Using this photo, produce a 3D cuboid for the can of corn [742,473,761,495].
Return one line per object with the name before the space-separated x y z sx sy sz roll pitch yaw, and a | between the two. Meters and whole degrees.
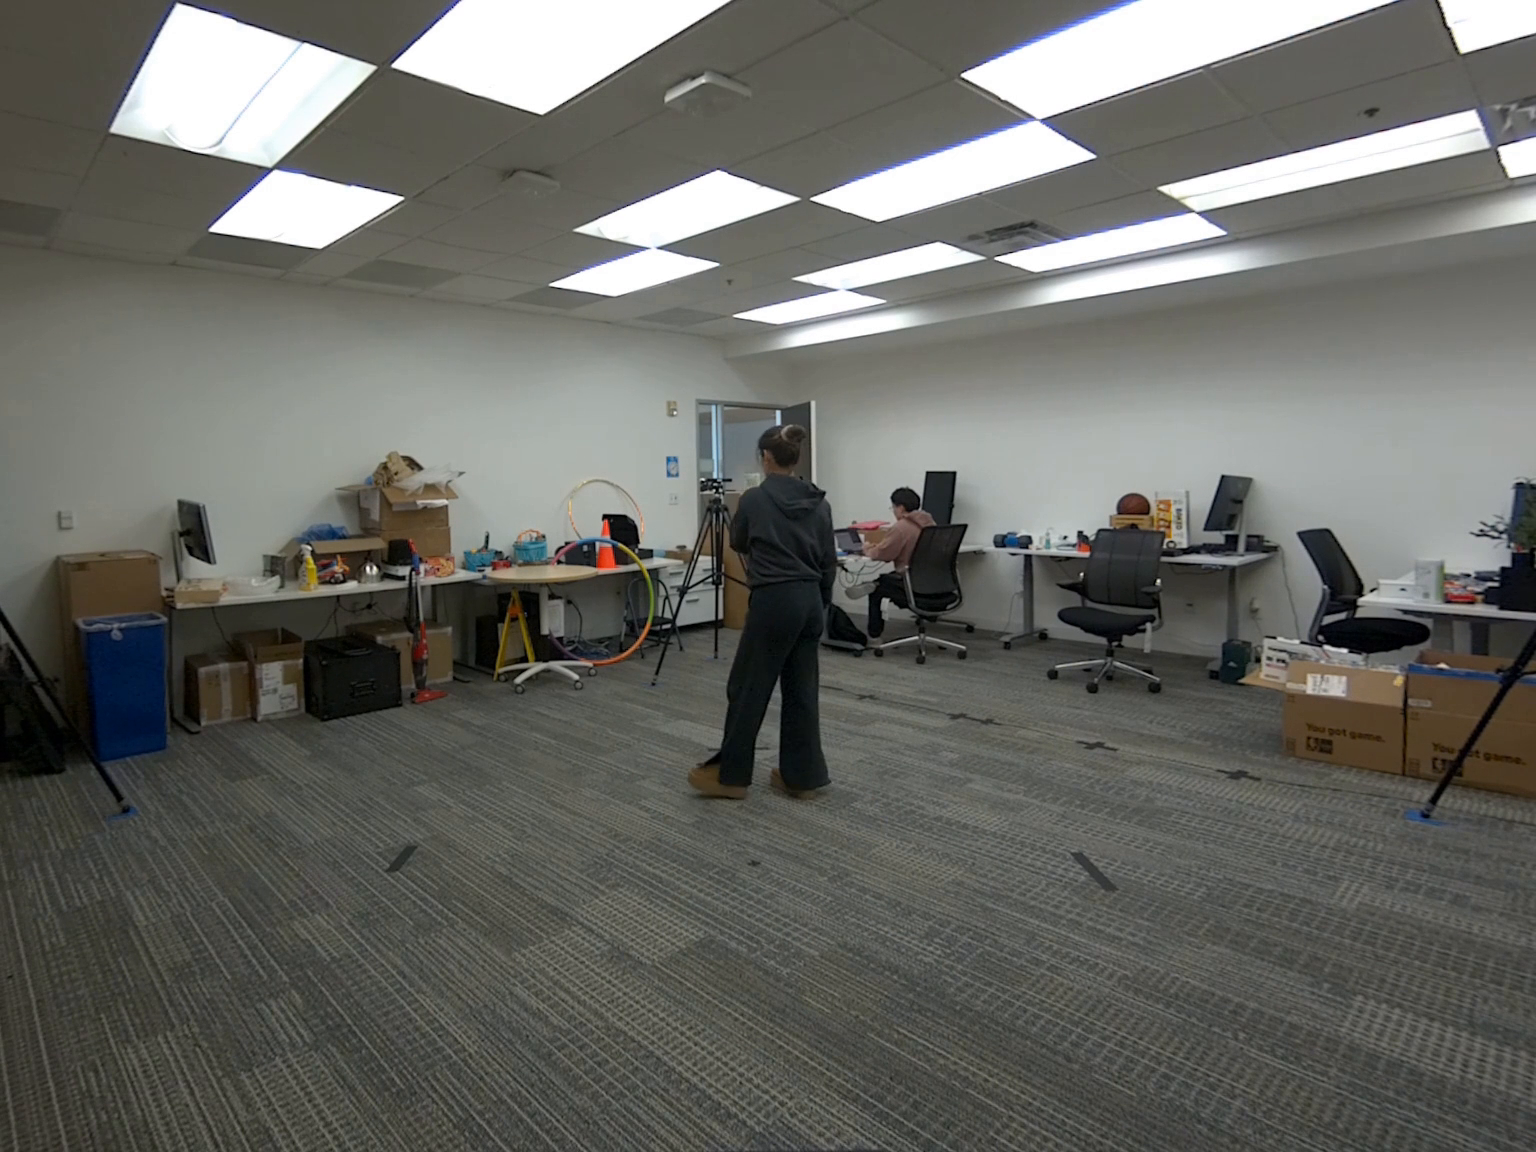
can of corn | -0.080 -0.422 3.990 0.074 0.110 0.075 3 9 -2
